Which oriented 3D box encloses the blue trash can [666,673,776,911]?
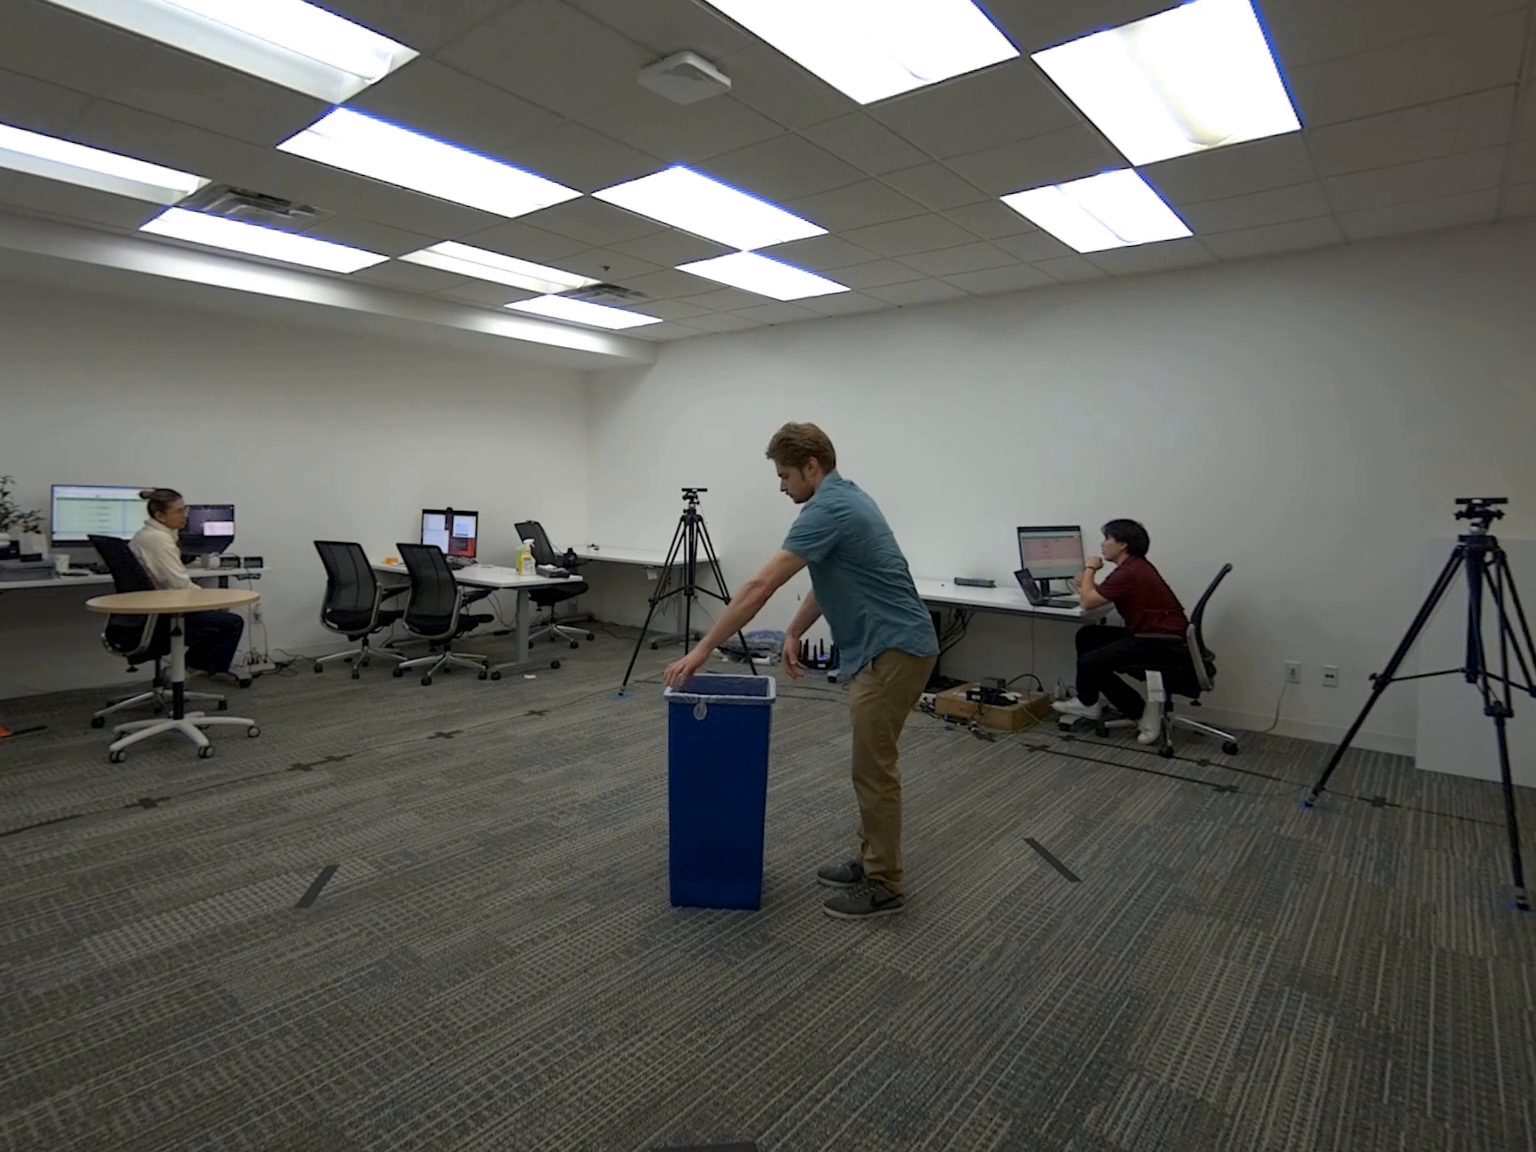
[{"bbox_3d":[-0.168,0.727,2.960,0.375,0.712,0.378,0,2,1],"label":"blue trash can"}]
